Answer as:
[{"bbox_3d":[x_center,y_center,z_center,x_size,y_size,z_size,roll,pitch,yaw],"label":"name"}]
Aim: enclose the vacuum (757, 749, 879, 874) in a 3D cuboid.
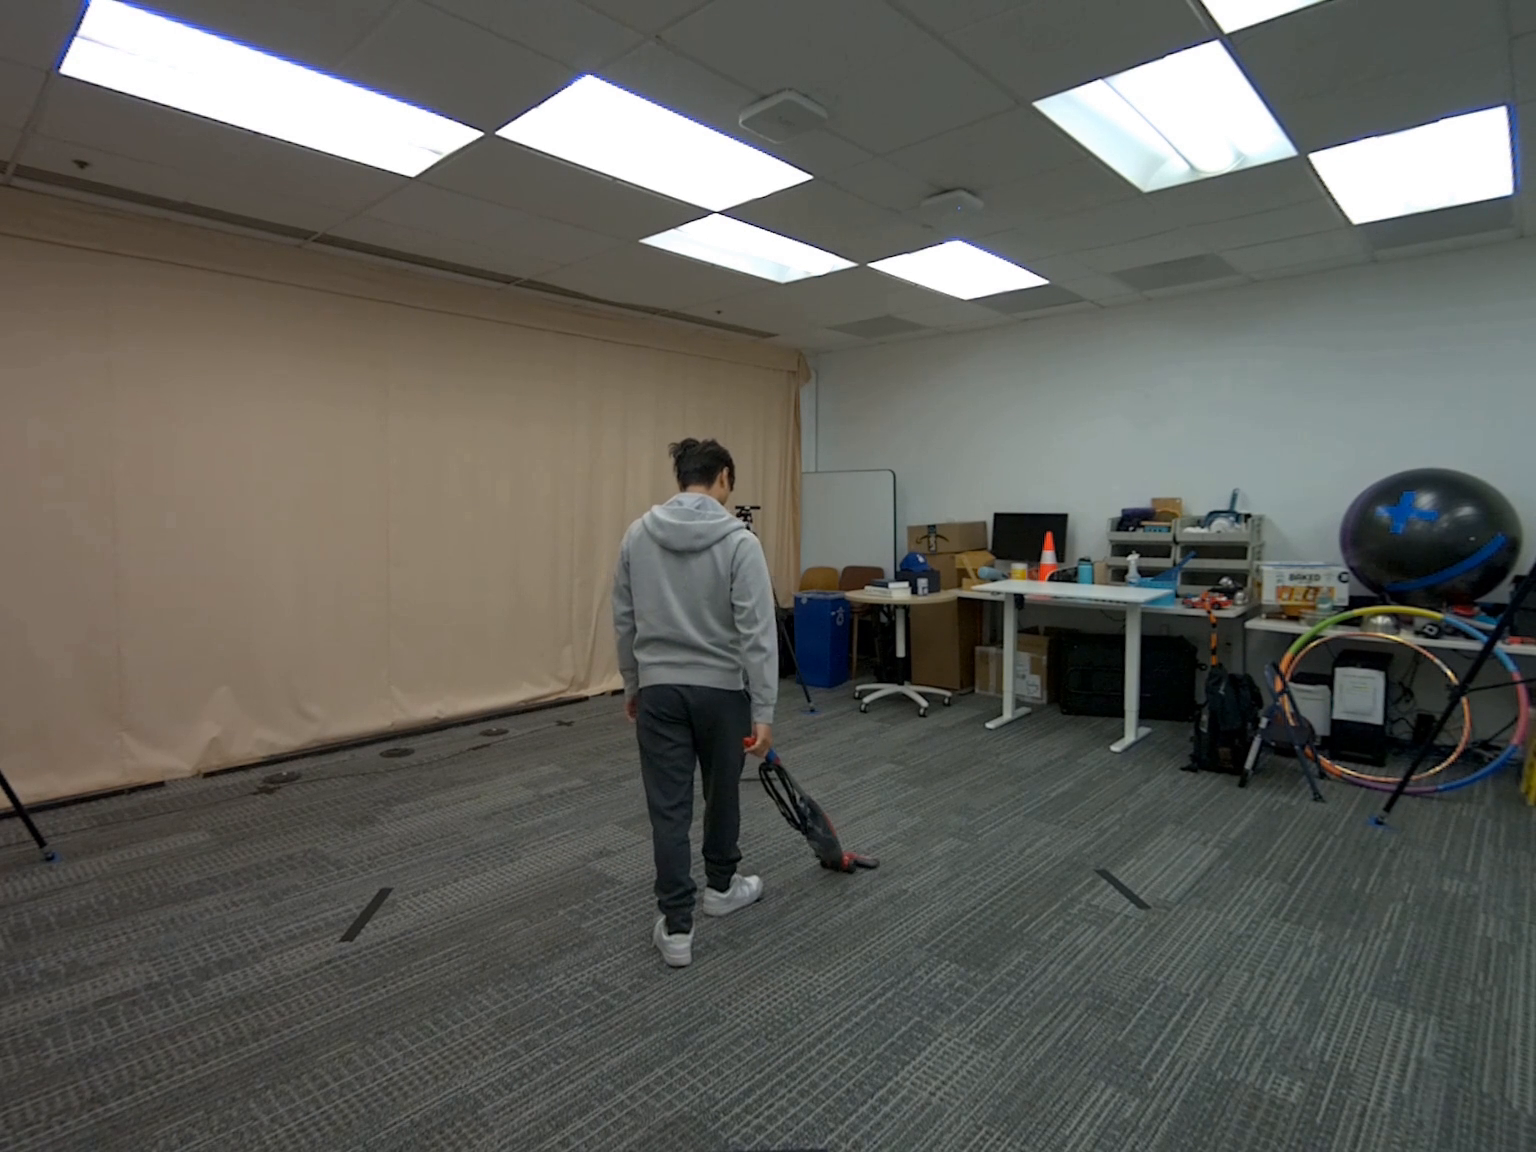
[{"bbox_3d":[0.120,0.812,2.920,0.258,0.145,1.015,-4,-38,23],"label":"vacuum"}]
